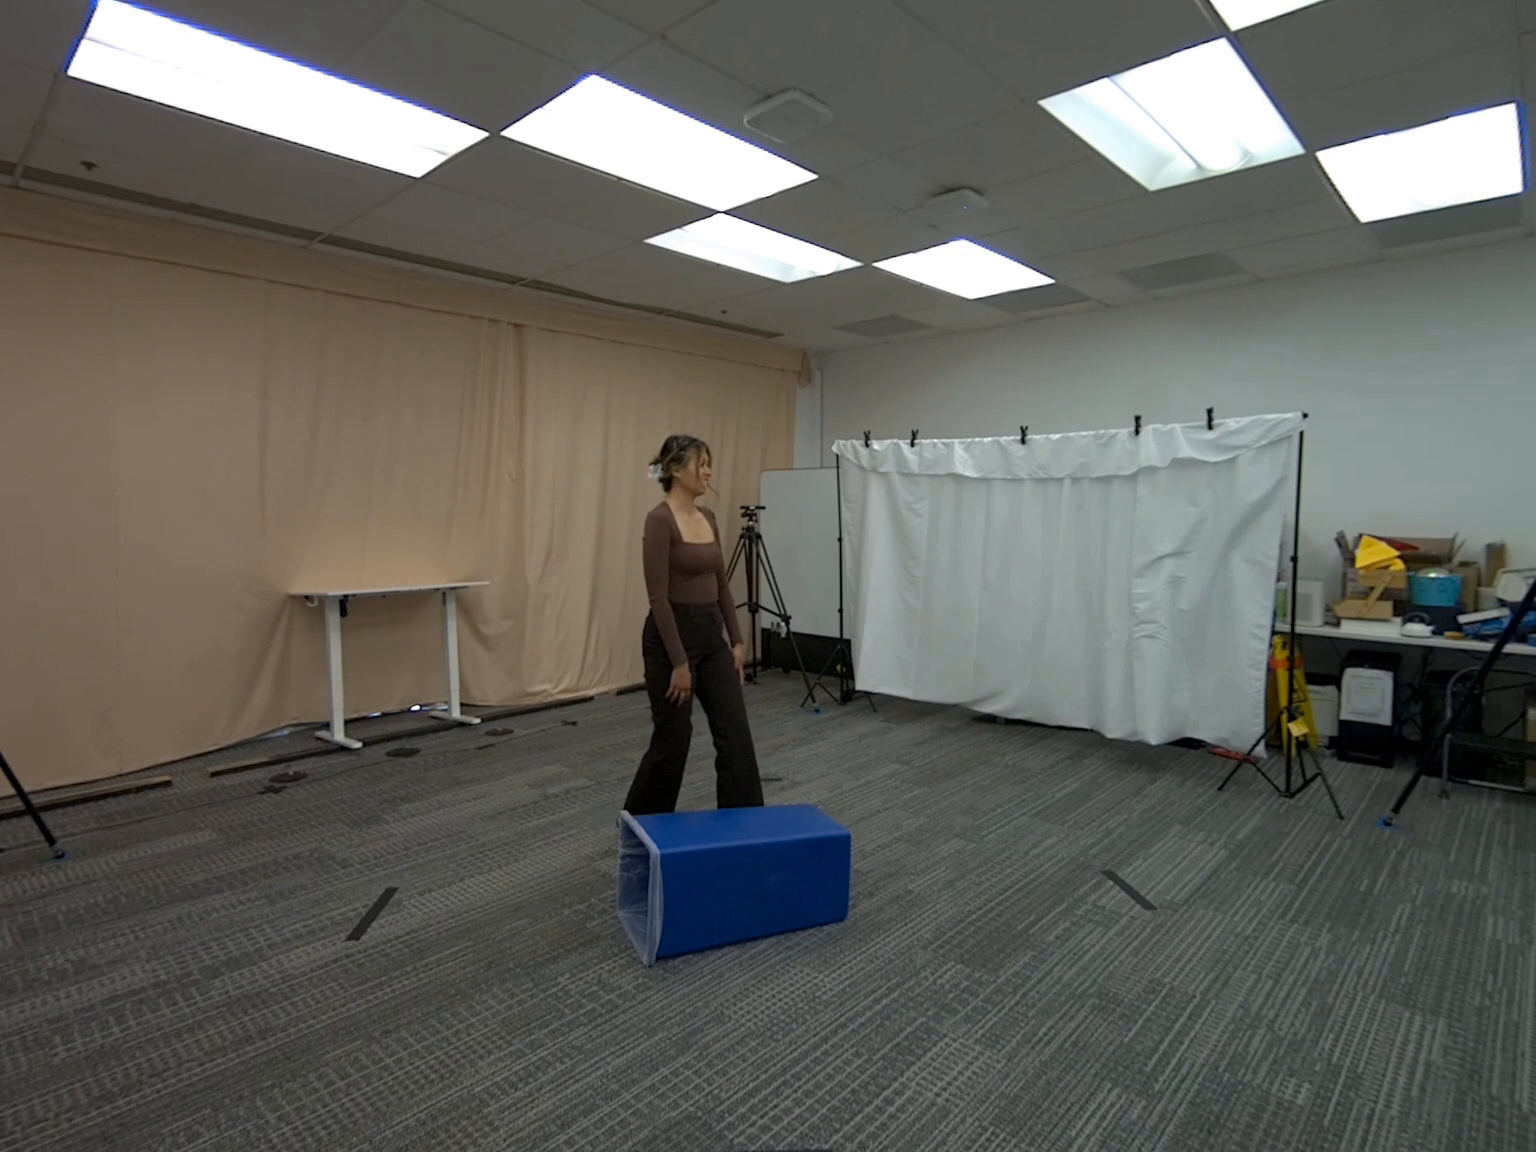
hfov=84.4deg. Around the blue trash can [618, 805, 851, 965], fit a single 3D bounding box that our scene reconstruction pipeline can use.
[{"bbox_3d":[-0.102,0.988,2.815,0.698,0.378,0.383,0,2,-22],"label":"blue trash can"}]
